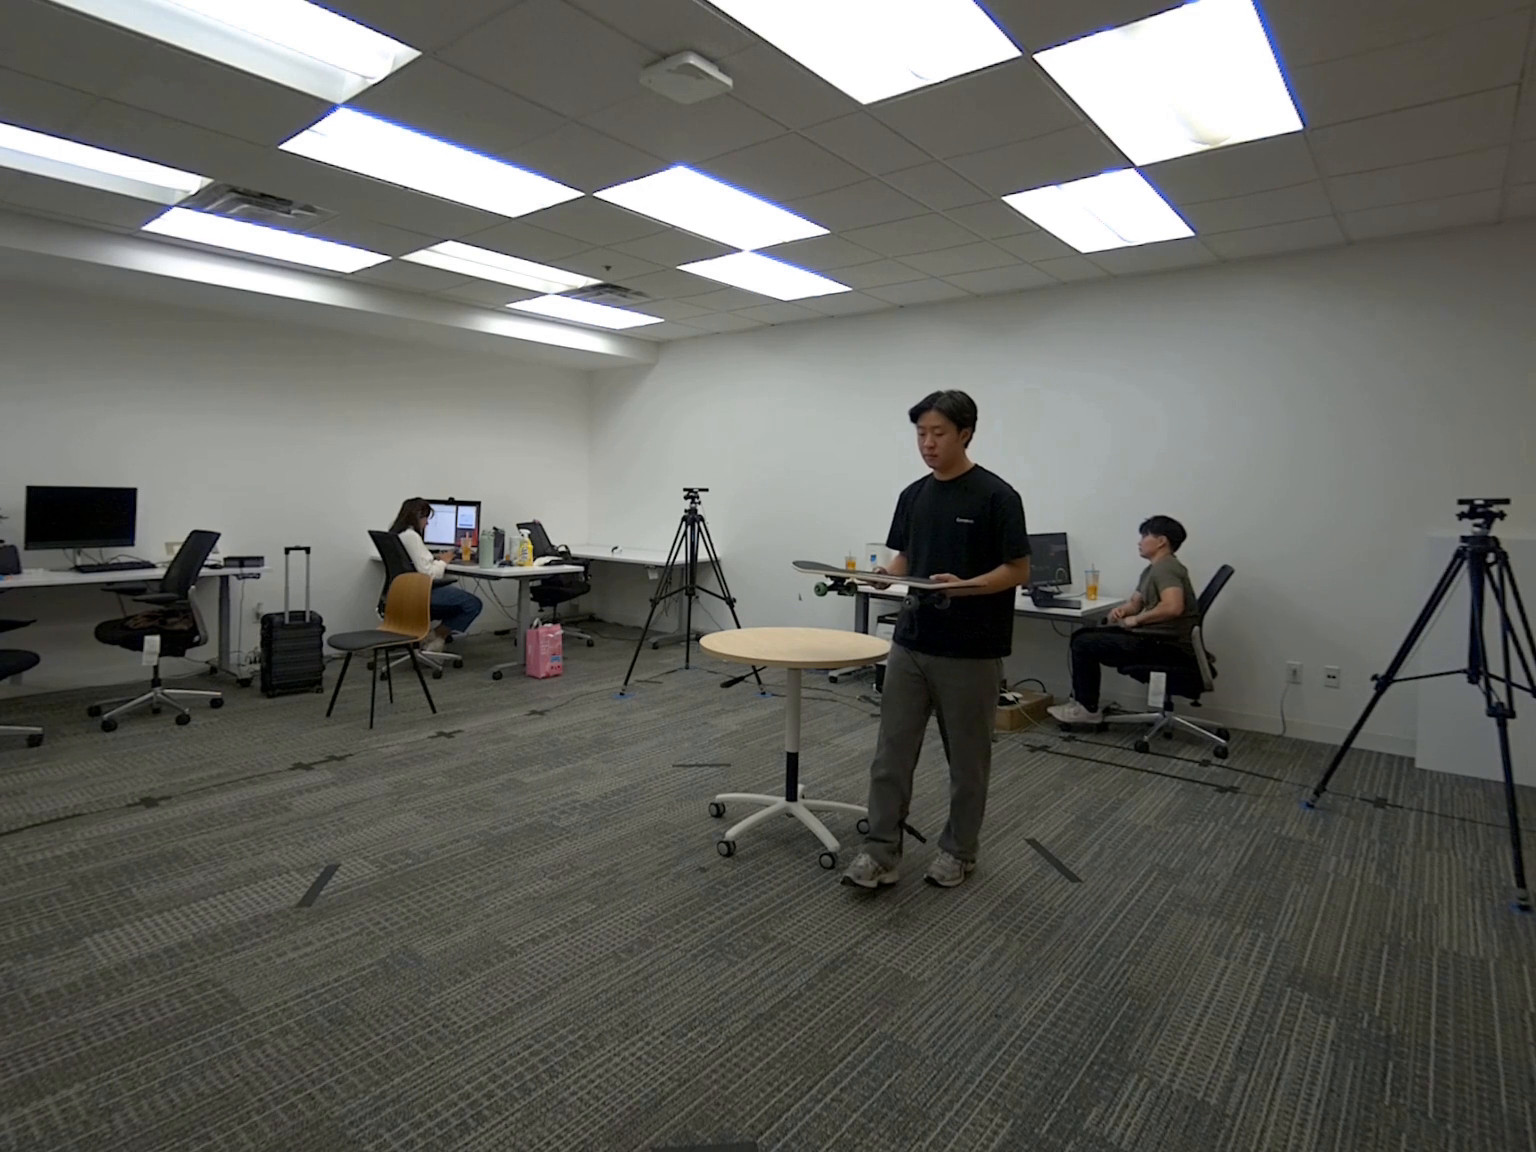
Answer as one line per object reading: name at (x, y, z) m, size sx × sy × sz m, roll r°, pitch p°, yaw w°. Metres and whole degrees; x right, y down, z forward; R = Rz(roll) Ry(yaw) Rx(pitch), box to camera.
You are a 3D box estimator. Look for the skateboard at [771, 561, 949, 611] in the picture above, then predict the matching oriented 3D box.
skateboard at (0.360, 0.035, 2.809) m, size 0.187 × 0.110 × 0.813 m, roll -1°, pitch 5°, yaw -44°
